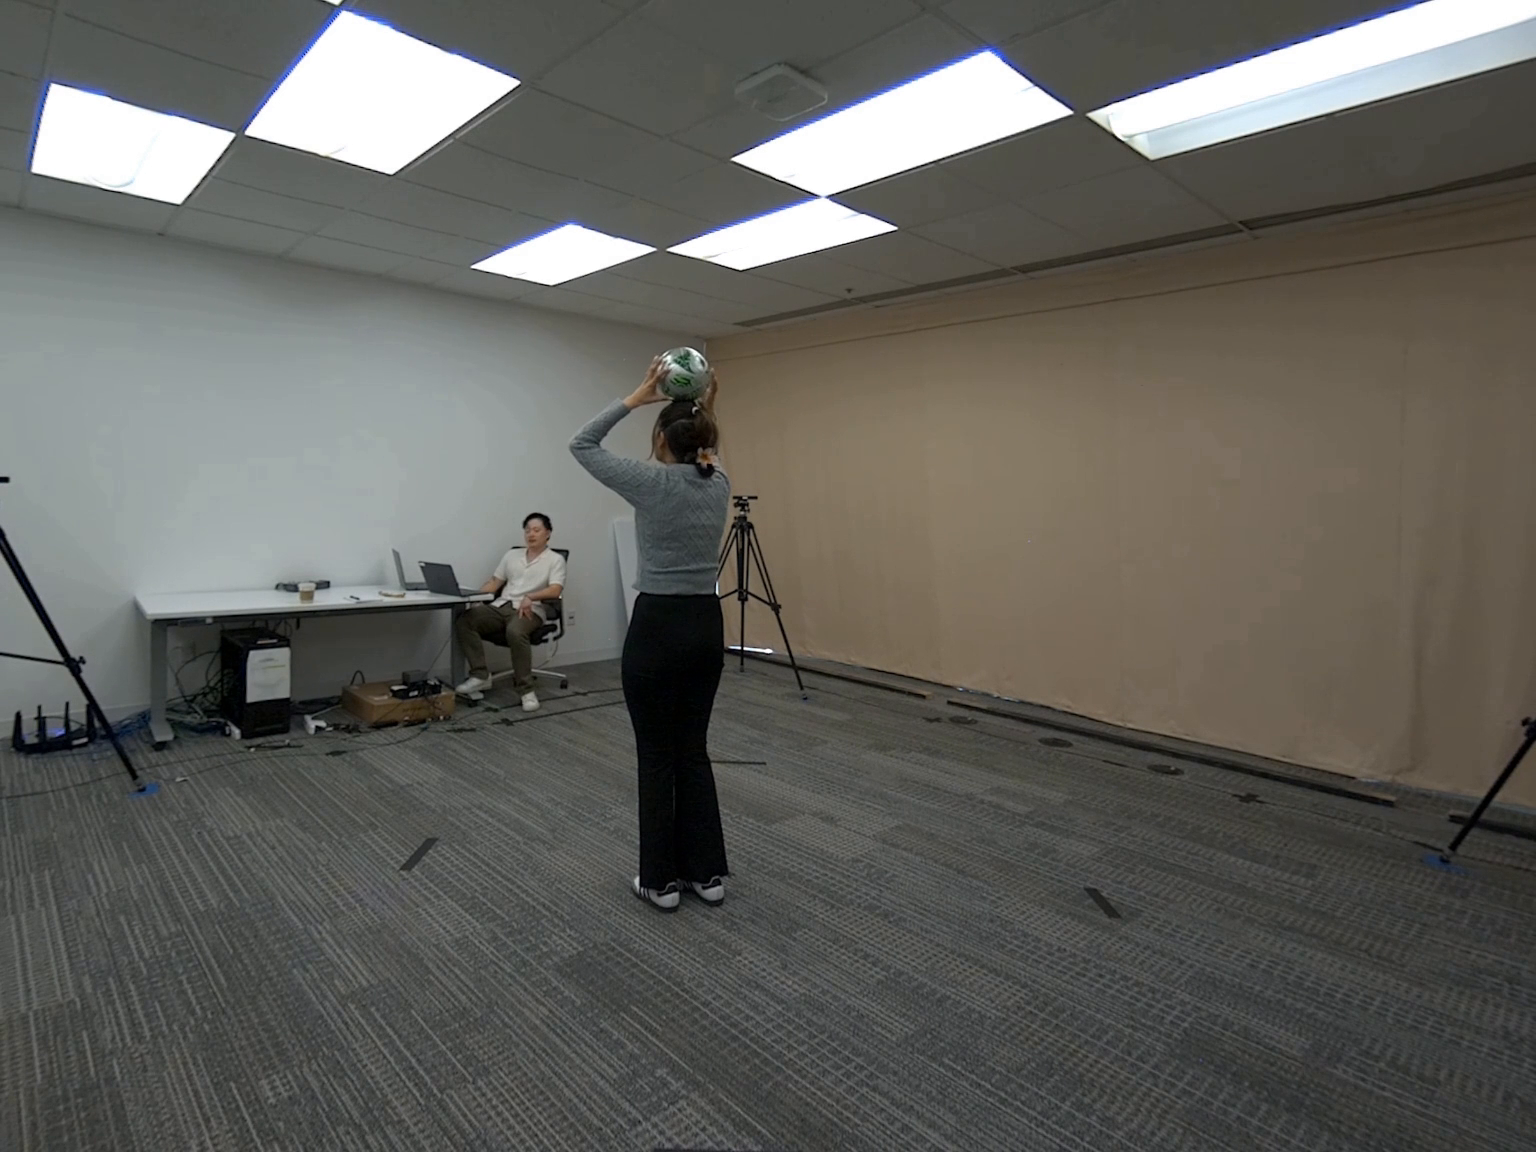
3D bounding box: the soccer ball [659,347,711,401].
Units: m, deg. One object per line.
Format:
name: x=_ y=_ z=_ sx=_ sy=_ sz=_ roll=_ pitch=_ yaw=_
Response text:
soccer ball: x=-0.302 y=-0.685 z=2.871 sx=0.187 sy=0.187 sz=0.188 roll=1 pitch=4 yaw=-1
